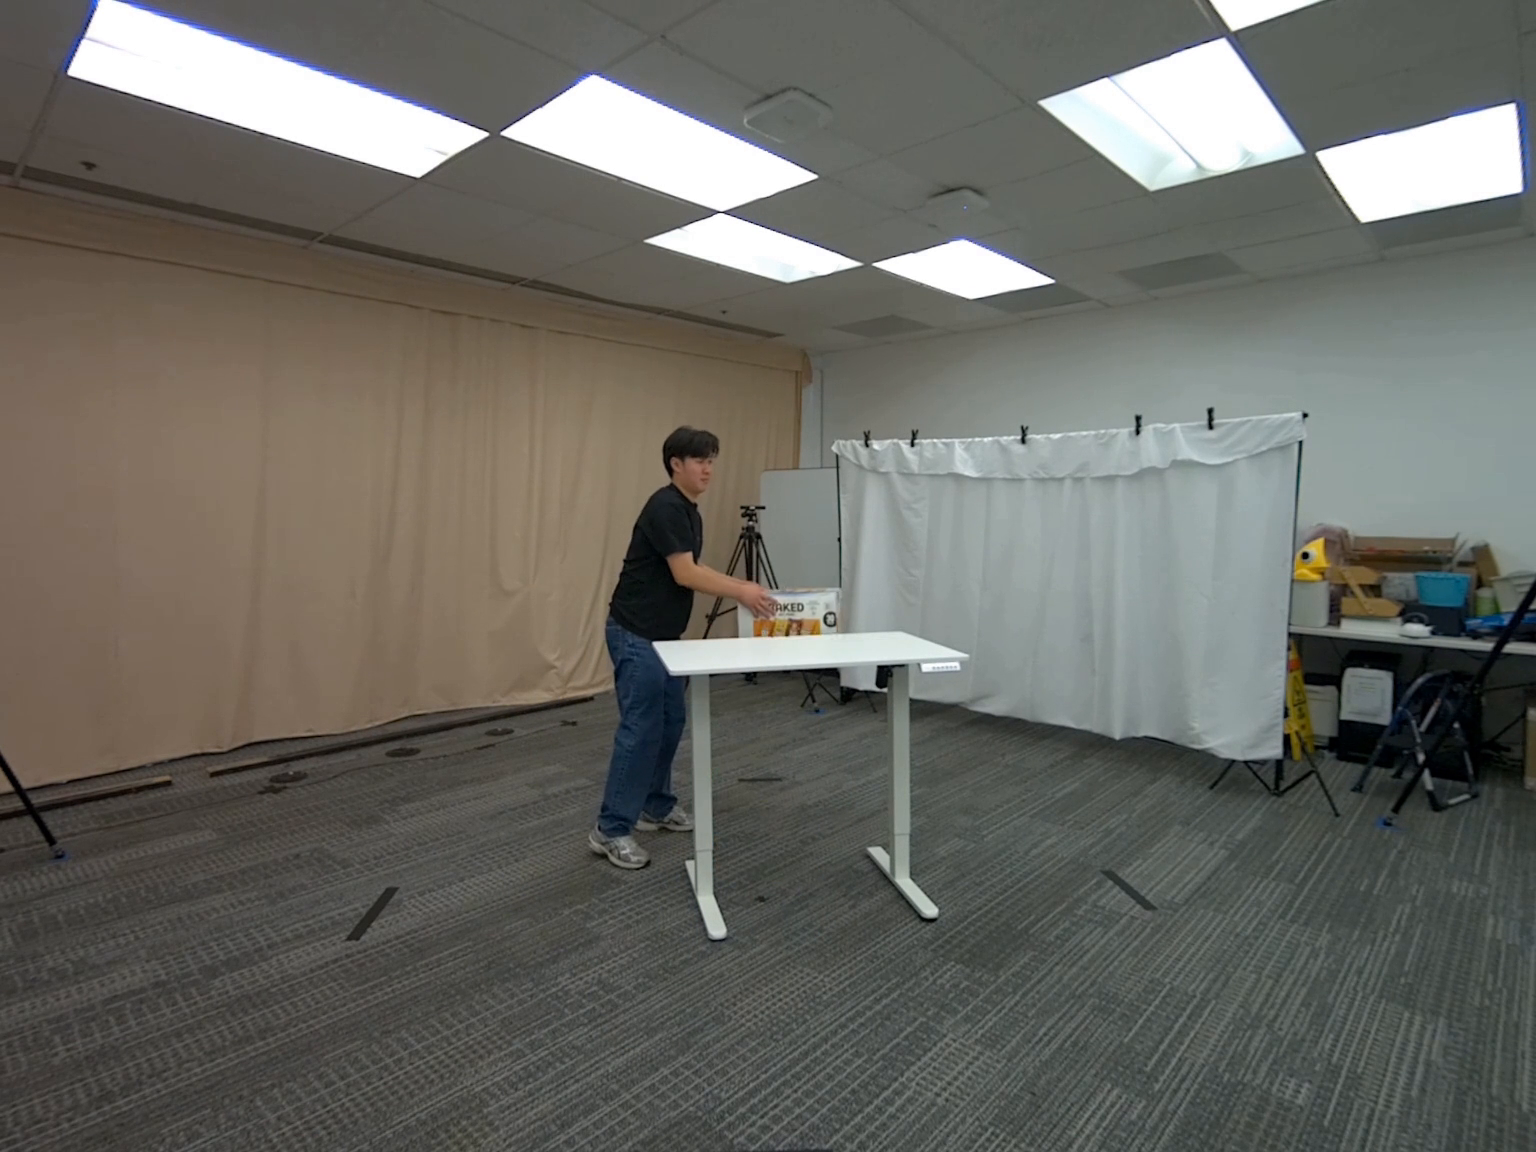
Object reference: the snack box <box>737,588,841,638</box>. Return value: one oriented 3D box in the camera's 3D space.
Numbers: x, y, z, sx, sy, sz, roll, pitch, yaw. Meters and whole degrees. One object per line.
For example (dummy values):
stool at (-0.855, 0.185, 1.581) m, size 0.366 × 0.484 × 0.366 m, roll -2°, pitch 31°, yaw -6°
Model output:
snack box at (0.105, 0.177, 3.598) m, size 0.410 × 0.205 × 0.337 m, roll -1°, pitch 4°, yaw 11°
